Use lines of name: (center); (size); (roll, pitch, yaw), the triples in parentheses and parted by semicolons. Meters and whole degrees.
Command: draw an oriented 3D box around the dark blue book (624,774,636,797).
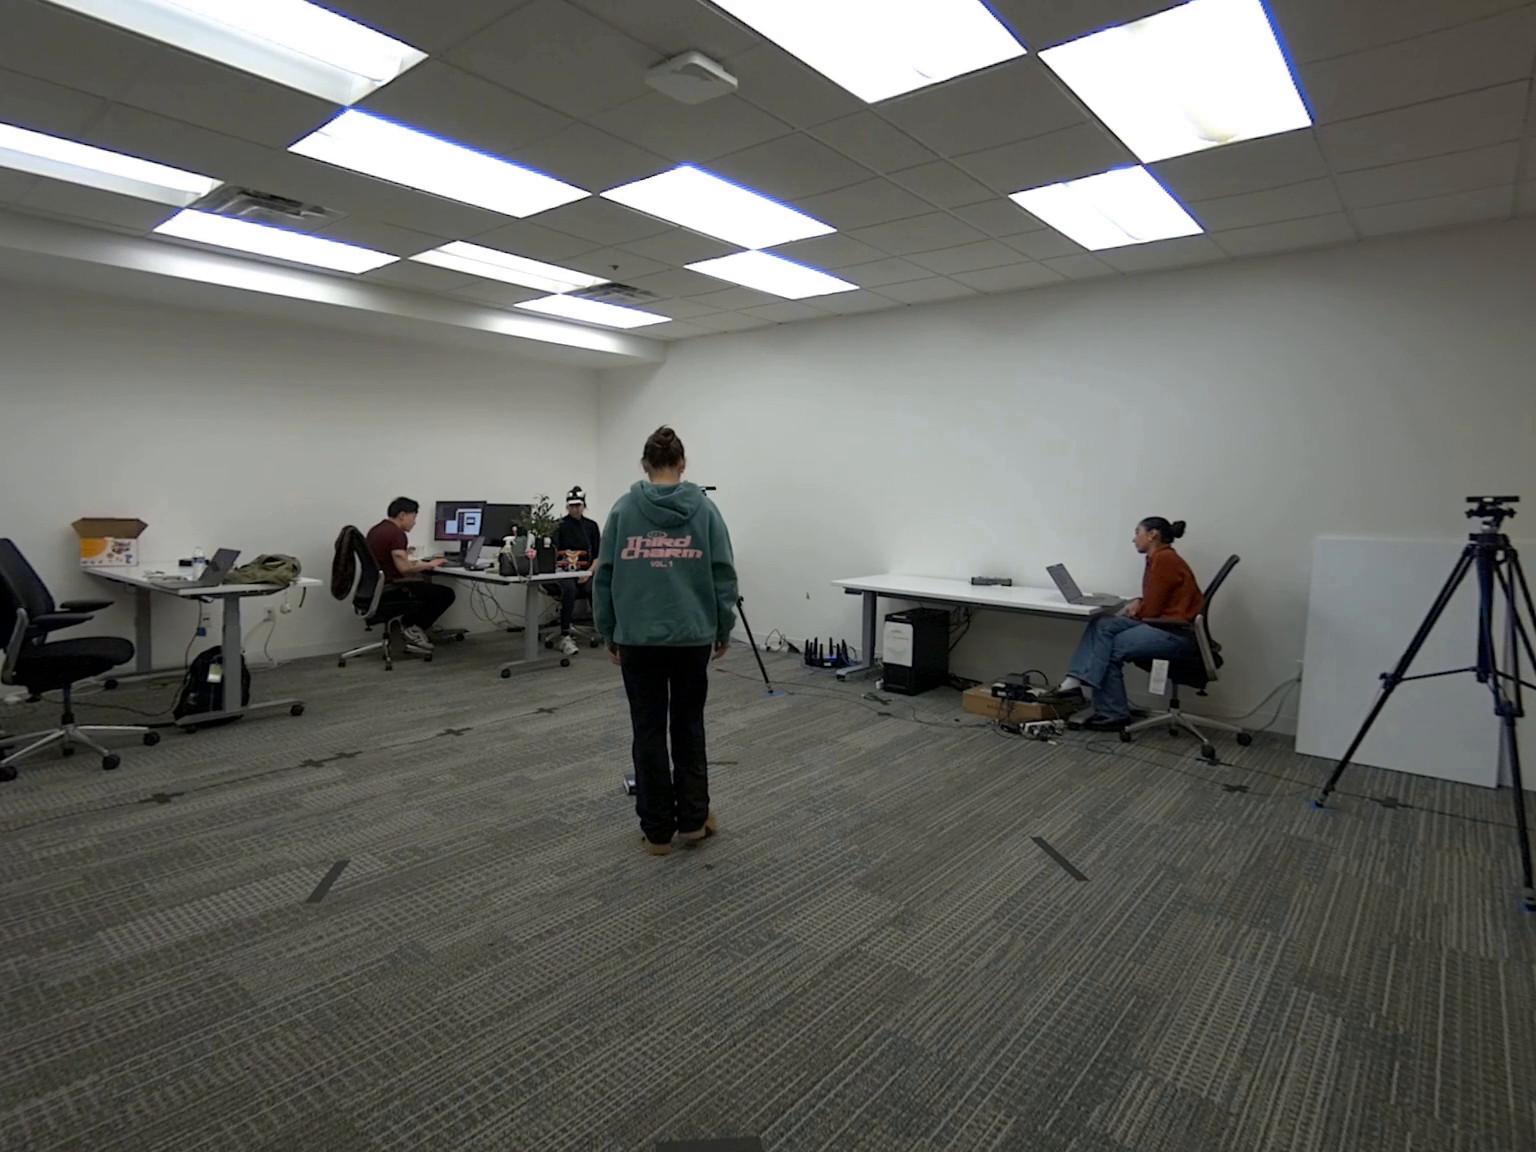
dark blue book: (-0.548, 0.946, 3.928); (0.241, 0.045, 0.167); (-1, 6, -16)
